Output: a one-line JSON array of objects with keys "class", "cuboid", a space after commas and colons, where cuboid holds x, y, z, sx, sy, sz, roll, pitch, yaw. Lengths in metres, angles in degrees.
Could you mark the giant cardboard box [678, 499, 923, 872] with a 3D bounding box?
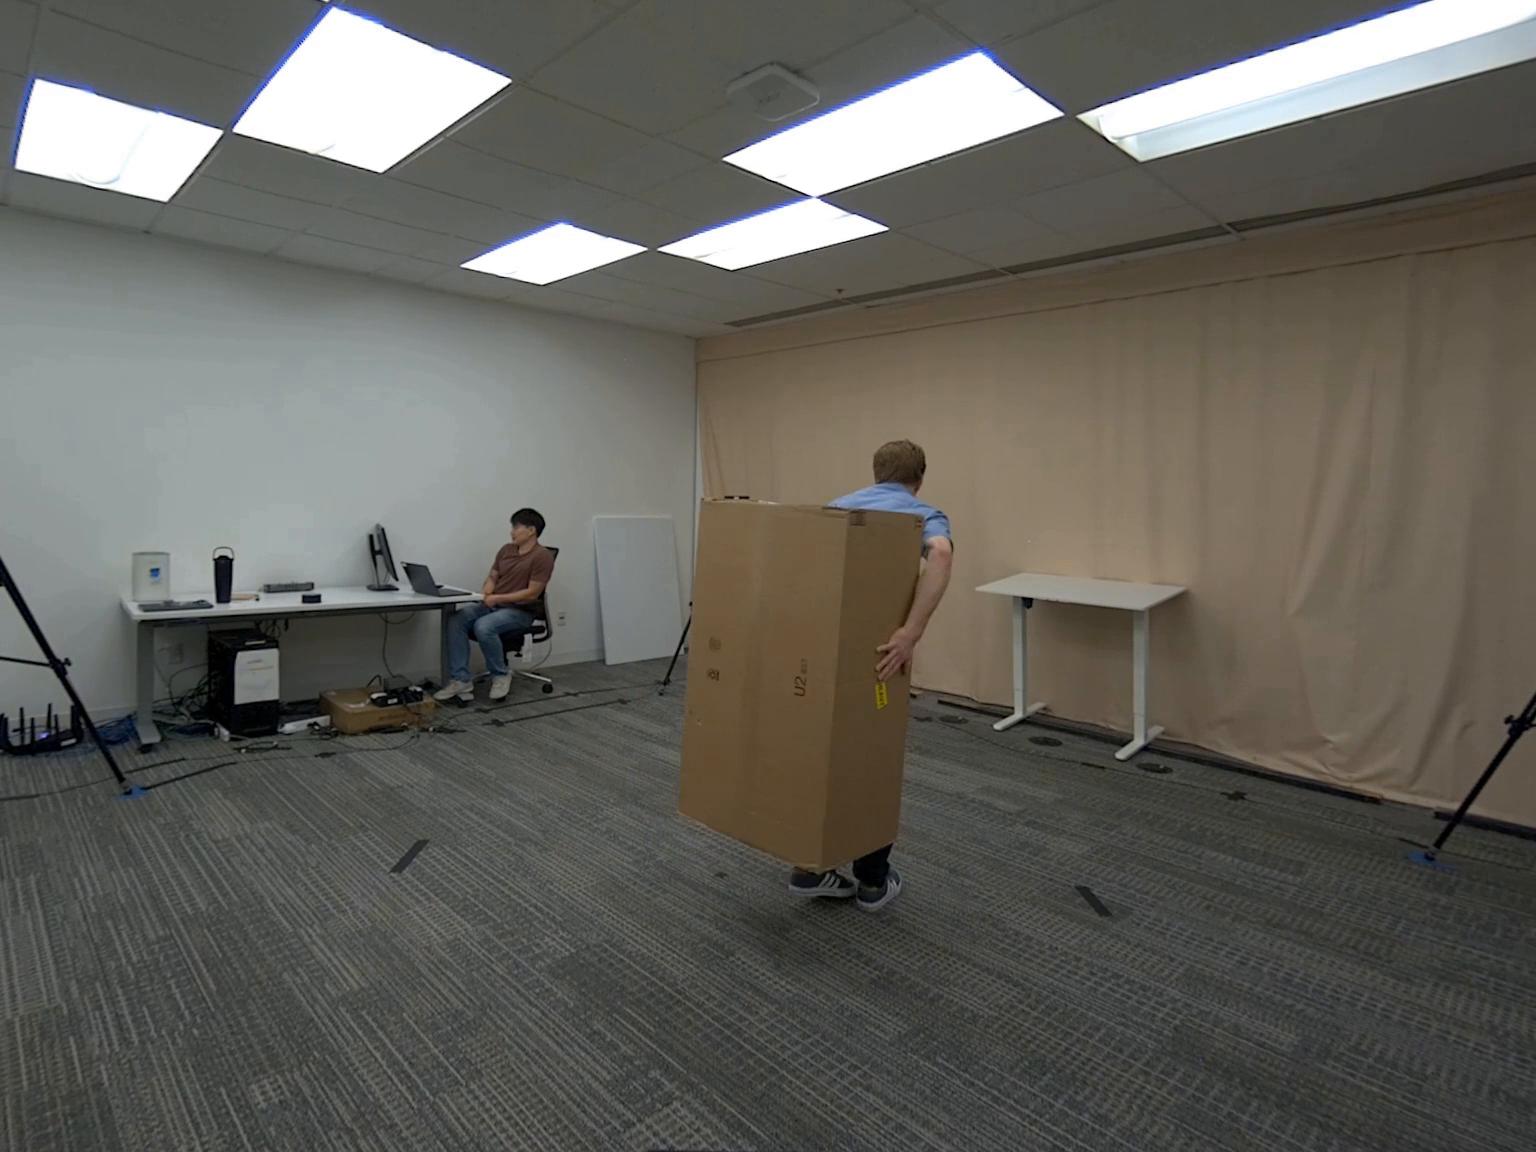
[{"class": "giant cardboard box", "cuboid": [0.082, 0.296, 2.648, 0.599, 1.025, 0.436, 6, 3, 40]}]
